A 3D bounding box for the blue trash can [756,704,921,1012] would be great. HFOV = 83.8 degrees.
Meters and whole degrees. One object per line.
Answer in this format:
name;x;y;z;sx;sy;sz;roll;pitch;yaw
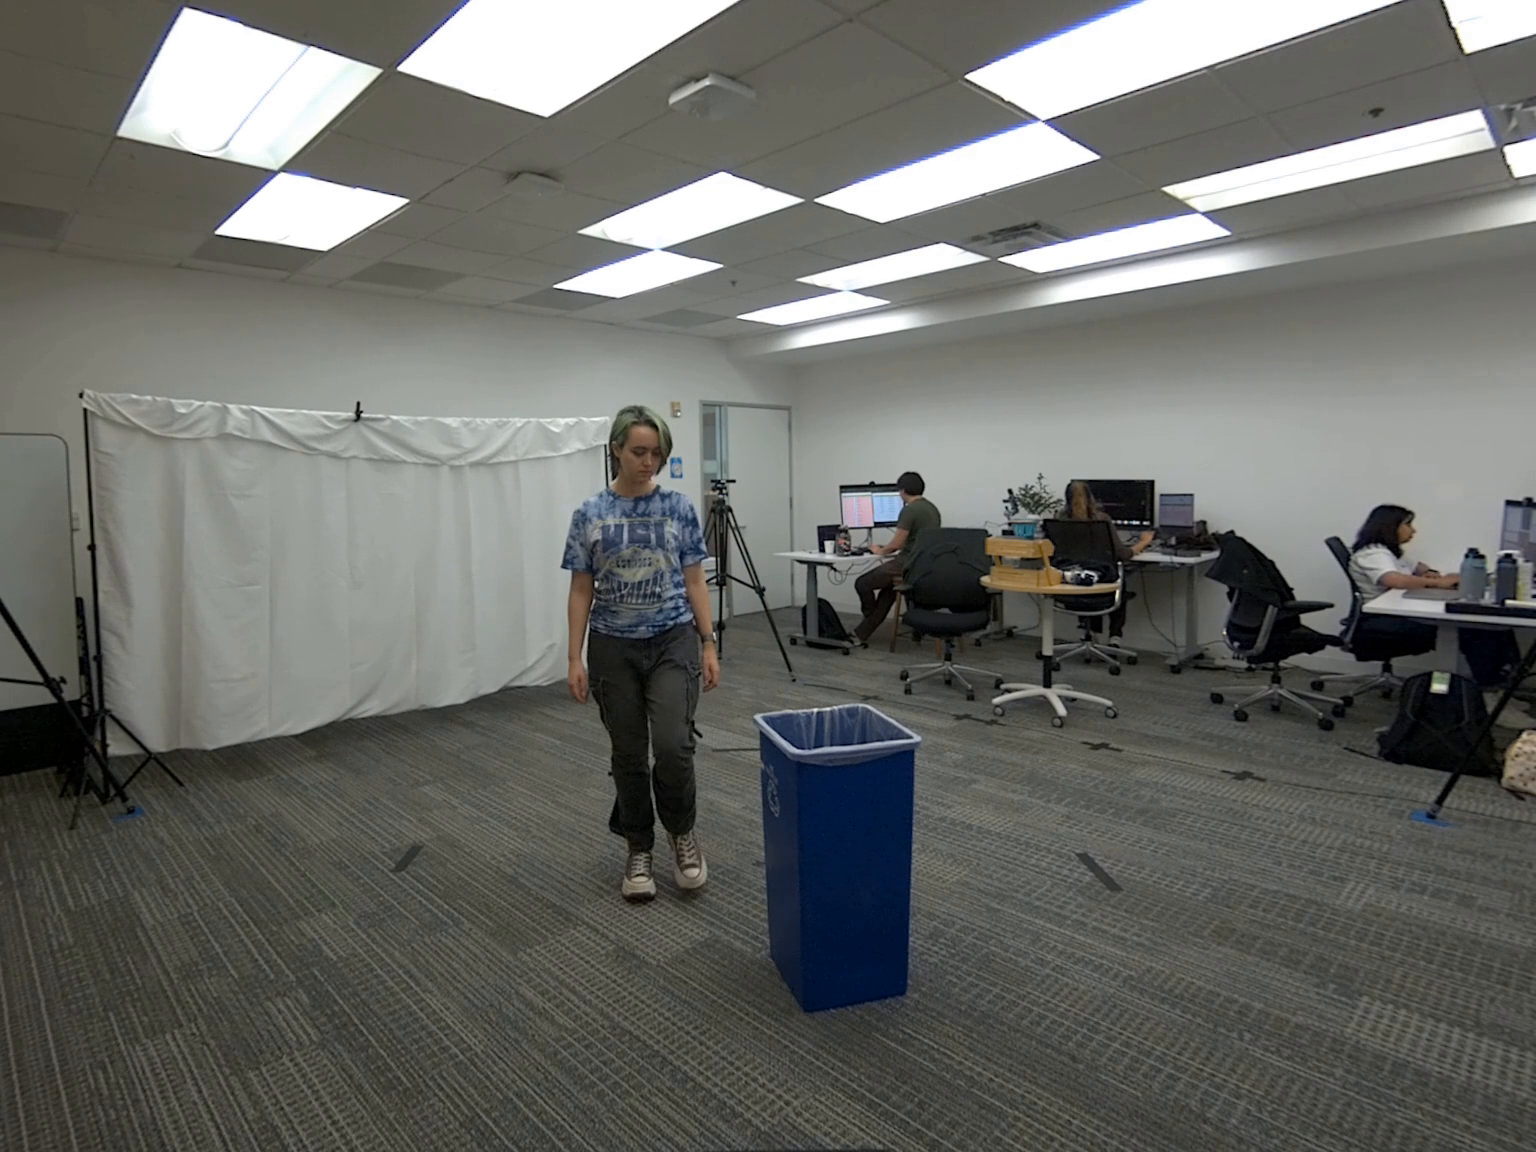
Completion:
blue trash can;0.196;0.772;2.381;0.373;0.711;0.381;-3;5;-16
